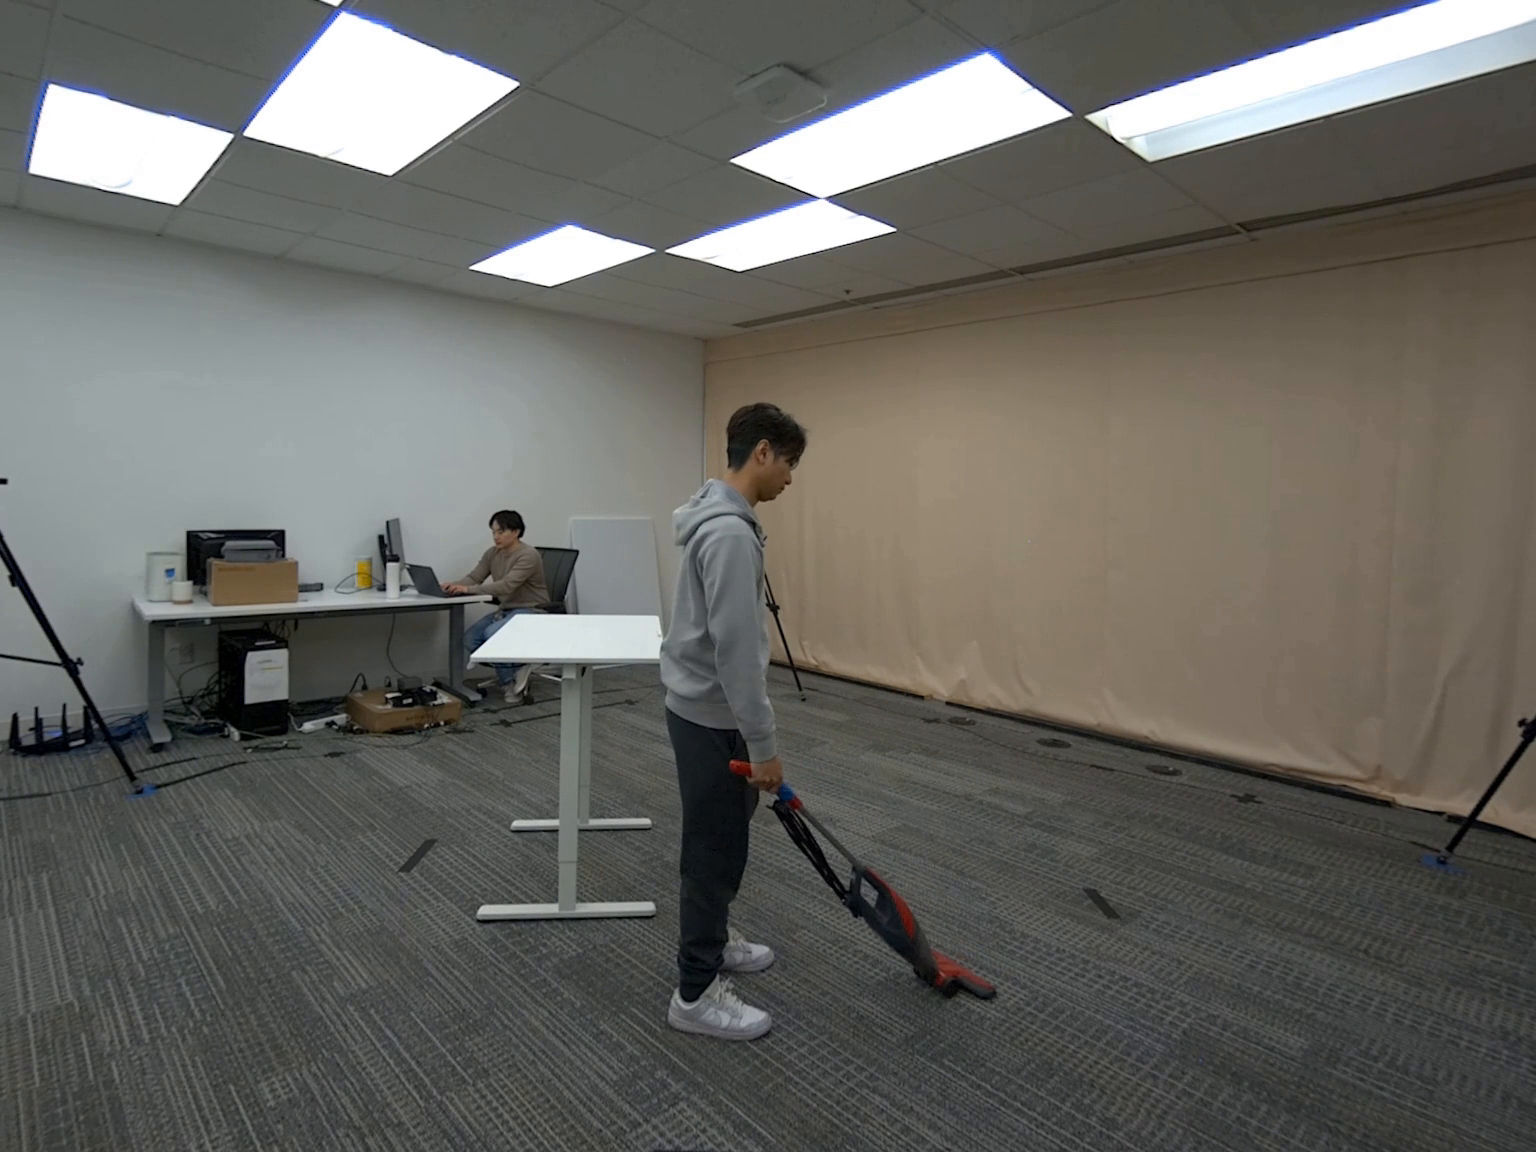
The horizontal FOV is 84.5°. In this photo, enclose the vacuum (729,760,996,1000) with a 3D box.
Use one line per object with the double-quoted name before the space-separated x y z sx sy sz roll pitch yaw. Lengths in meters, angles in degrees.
"vacuum" 0.226 0.819 2.248 1.024 0.144 0.258 50 -21 -25
